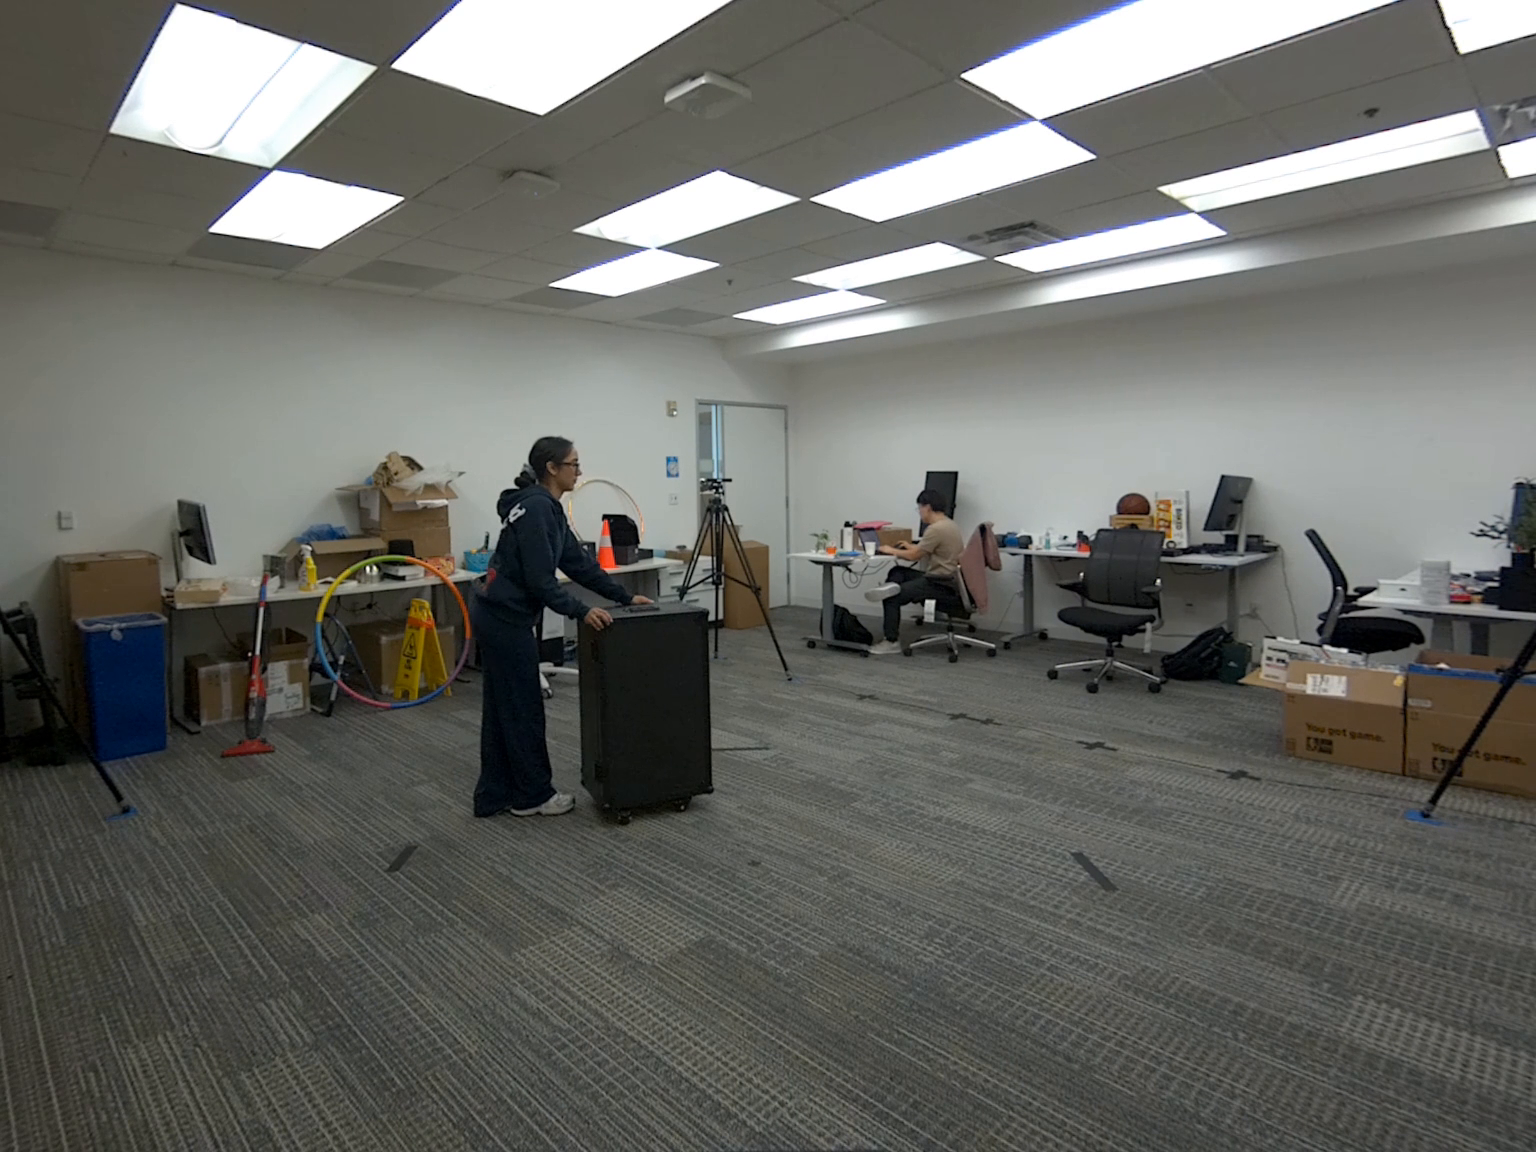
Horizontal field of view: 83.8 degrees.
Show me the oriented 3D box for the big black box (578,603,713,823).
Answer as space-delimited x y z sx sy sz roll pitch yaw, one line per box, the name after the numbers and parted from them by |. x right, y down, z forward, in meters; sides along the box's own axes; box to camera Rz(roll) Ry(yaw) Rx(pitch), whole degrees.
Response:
-0.543 0.564 3.670 0.510 0.860 0.405 -3 3 -26 | big black box
